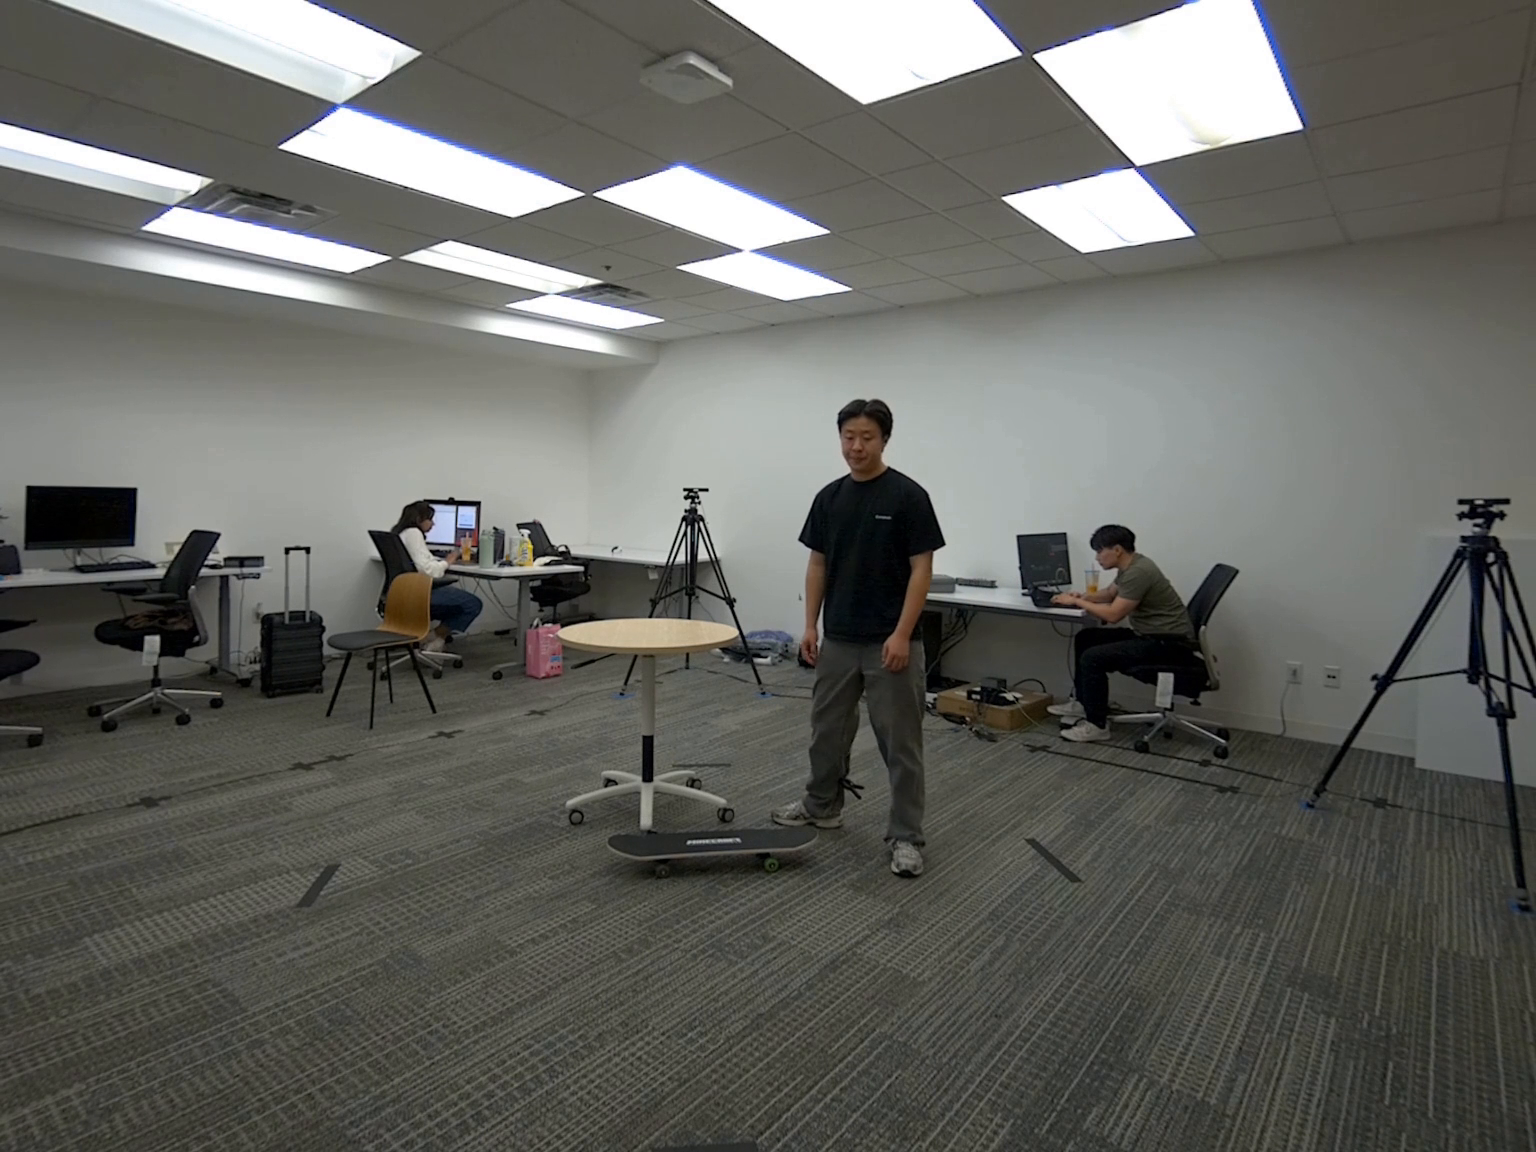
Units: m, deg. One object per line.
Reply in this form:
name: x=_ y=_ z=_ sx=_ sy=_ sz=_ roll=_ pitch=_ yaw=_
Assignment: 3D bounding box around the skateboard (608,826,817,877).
skateboard: x=-0.209 y=1.011 z=3.148 sx=0.776 sy=0.110 sz=0.196 roll=-1 pitch=5 yaw=-11
